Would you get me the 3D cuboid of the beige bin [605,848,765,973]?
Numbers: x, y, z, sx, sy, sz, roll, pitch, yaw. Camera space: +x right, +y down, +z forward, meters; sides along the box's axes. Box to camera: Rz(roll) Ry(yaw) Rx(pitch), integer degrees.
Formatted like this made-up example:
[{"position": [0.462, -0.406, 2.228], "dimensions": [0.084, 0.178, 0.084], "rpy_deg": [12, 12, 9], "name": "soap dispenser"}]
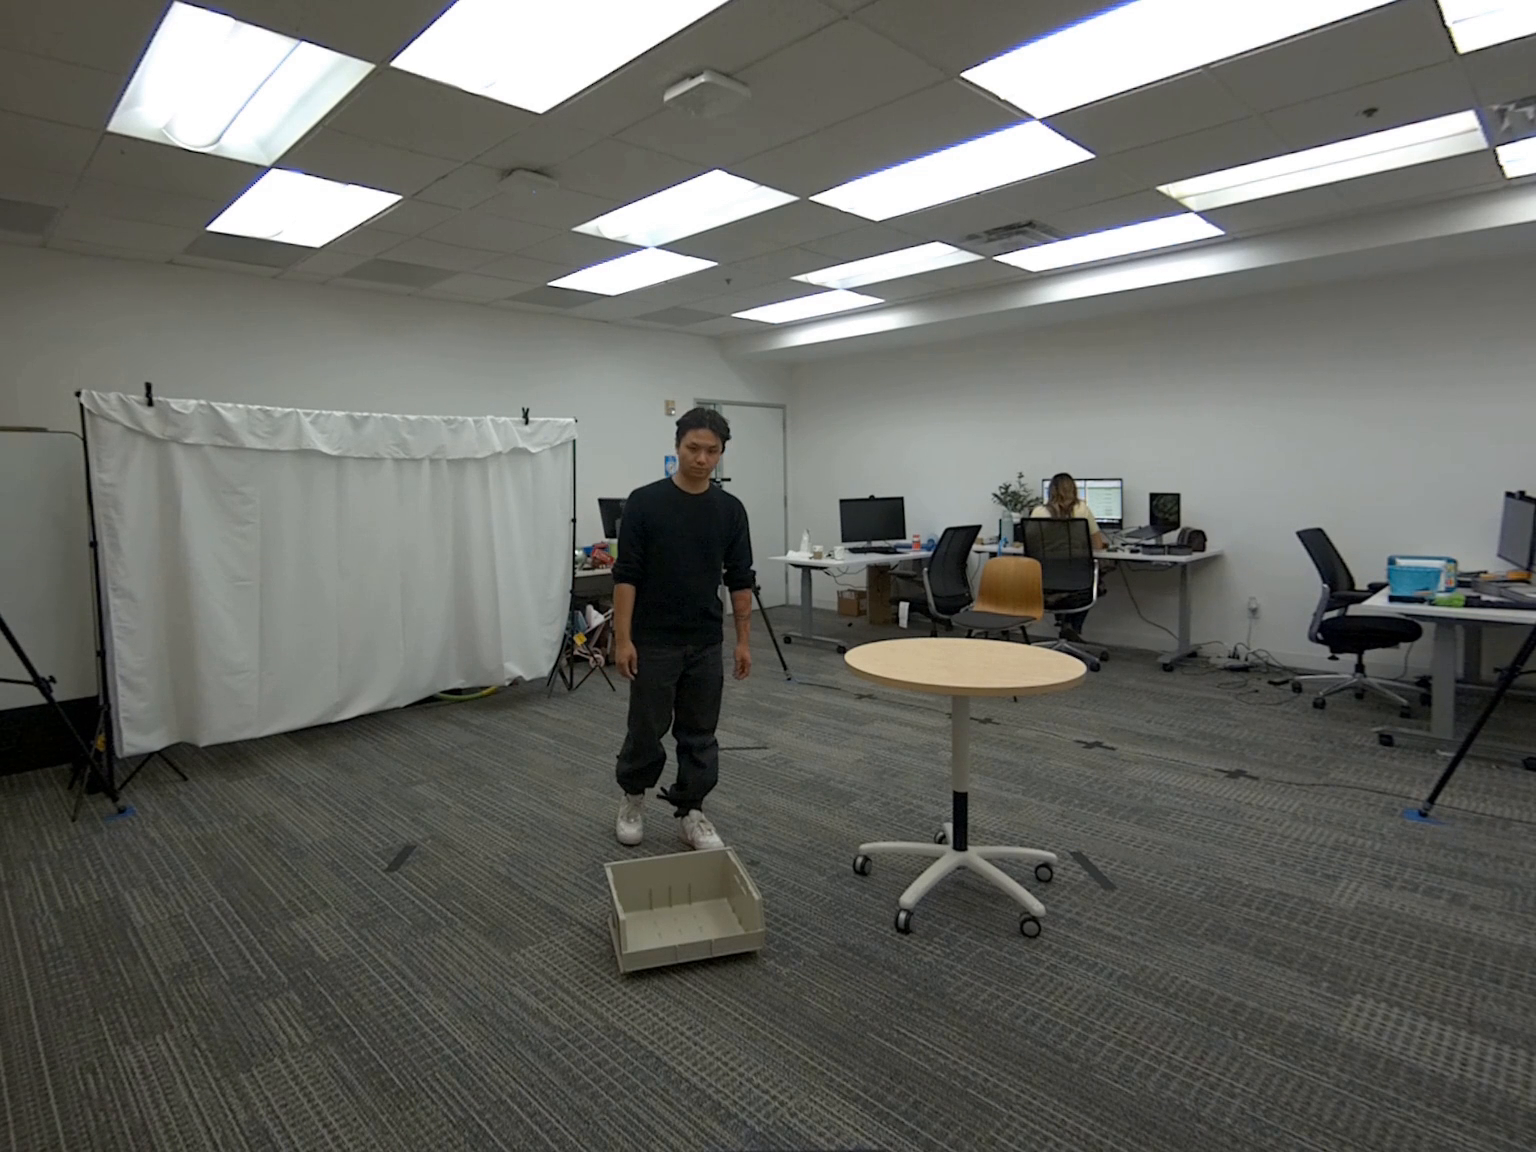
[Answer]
[{"position": [-0.261, 1.019, 2.598], "dimensions": [0.416, 0.188, 0.384], "rpy_deg": [-4, 6, -16], "name": "beige bin"}]
